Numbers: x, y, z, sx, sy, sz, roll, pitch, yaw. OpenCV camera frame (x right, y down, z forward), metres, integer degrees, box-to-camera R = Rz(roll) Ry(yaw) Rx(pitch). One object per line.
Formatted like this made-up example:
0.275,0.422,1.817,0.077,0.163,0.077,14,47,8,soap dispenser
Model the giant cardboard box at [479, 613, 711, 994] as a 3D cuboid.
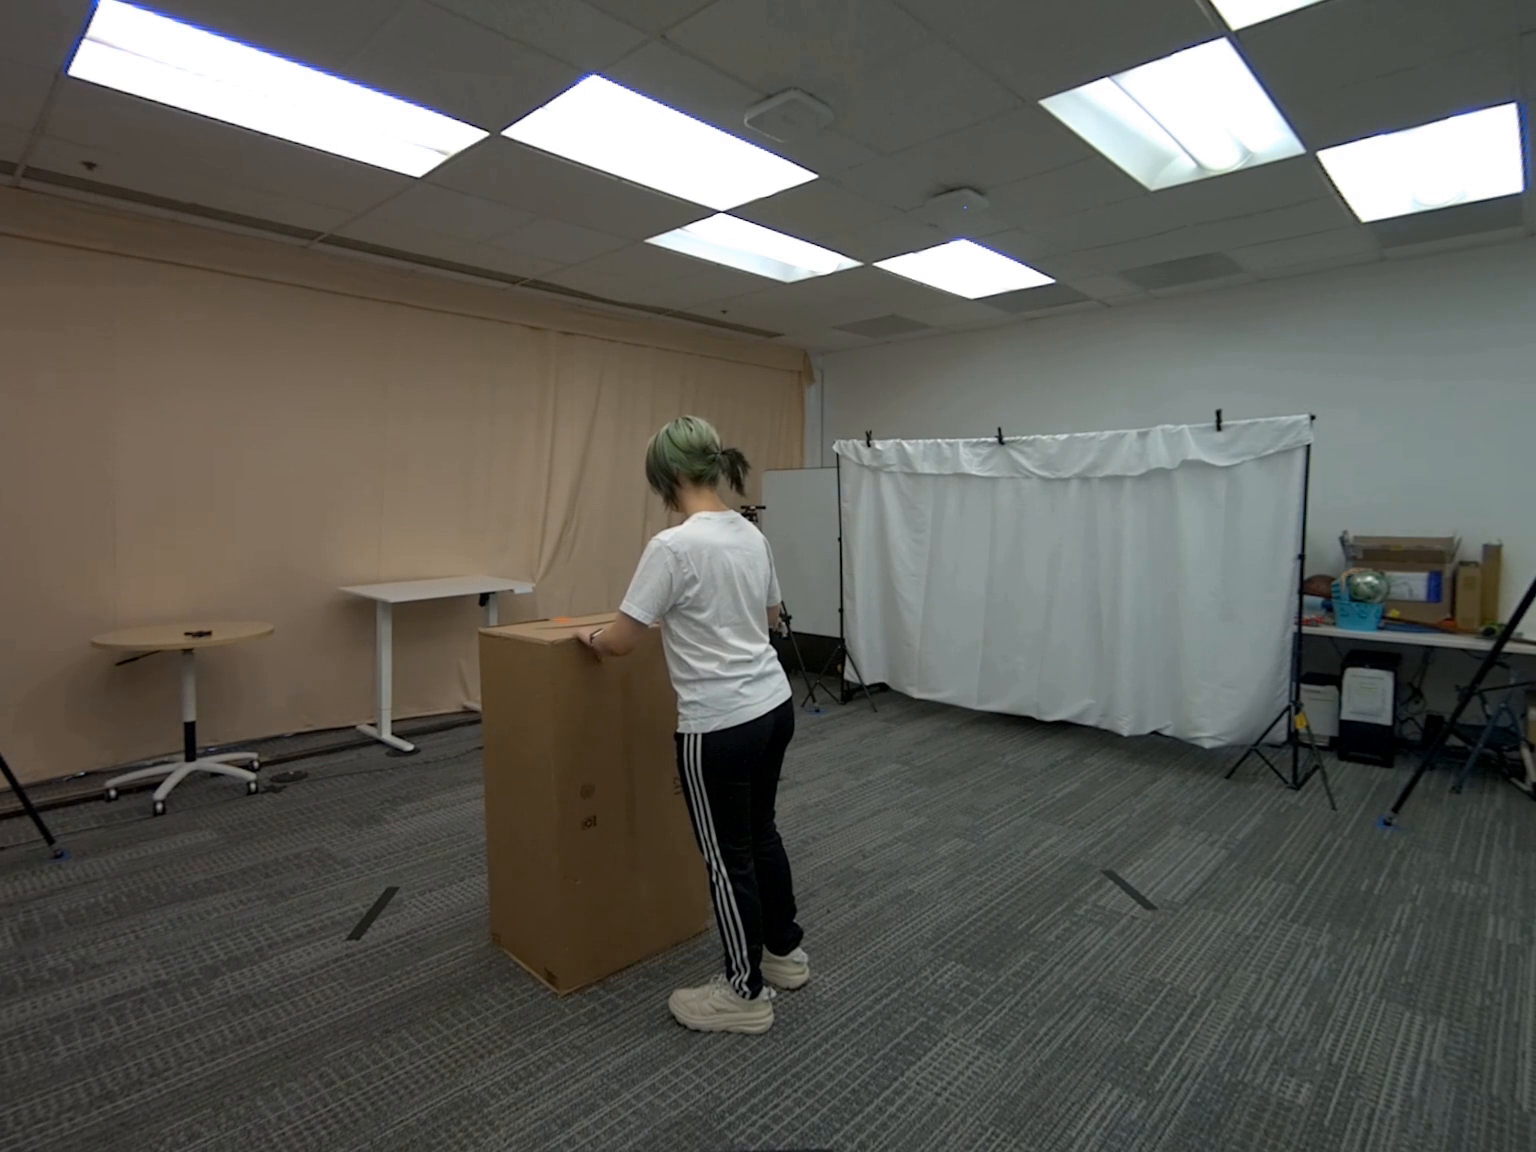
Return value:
-0.555,0.665,2.712,0.566,1.025,0.462,-4,5,-45,giant cardboard box
